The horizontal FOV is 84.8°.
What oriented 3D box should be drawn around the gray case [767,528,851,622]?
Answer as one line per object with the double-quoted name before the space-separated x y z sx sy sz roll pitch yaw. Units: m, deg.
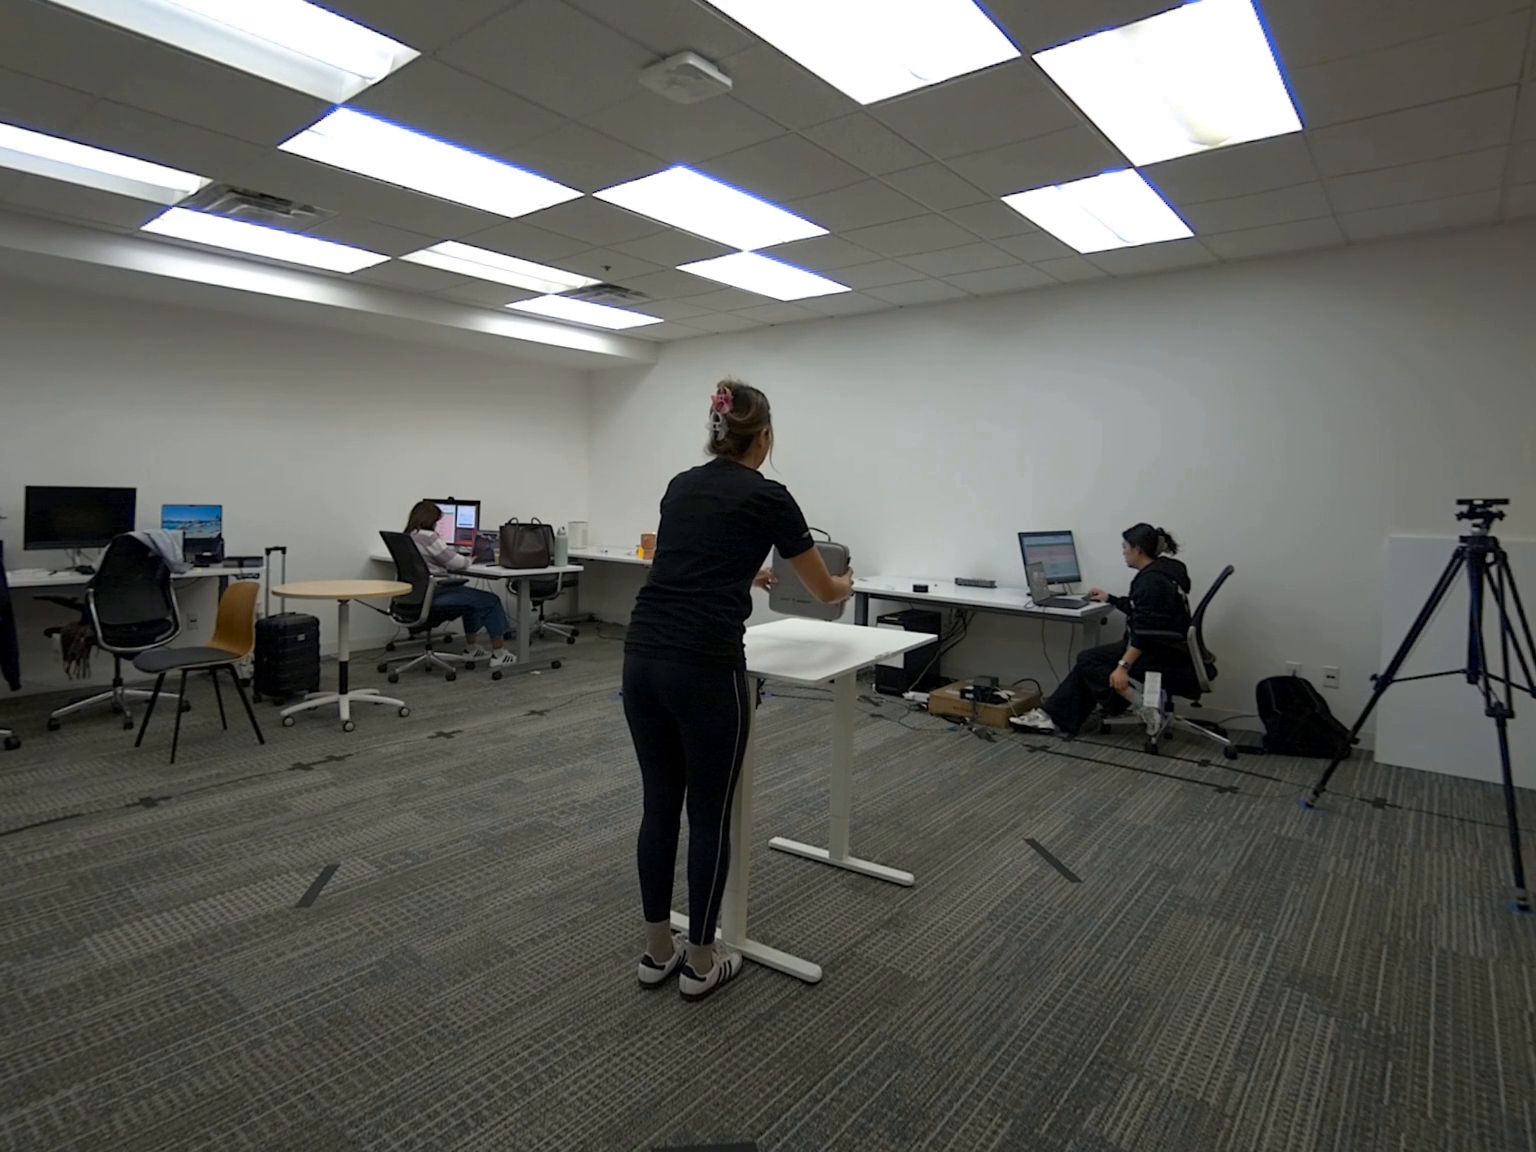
"gray case" 0.136 0.001 2.860 0.263 0.259 0.102 7 5 23
